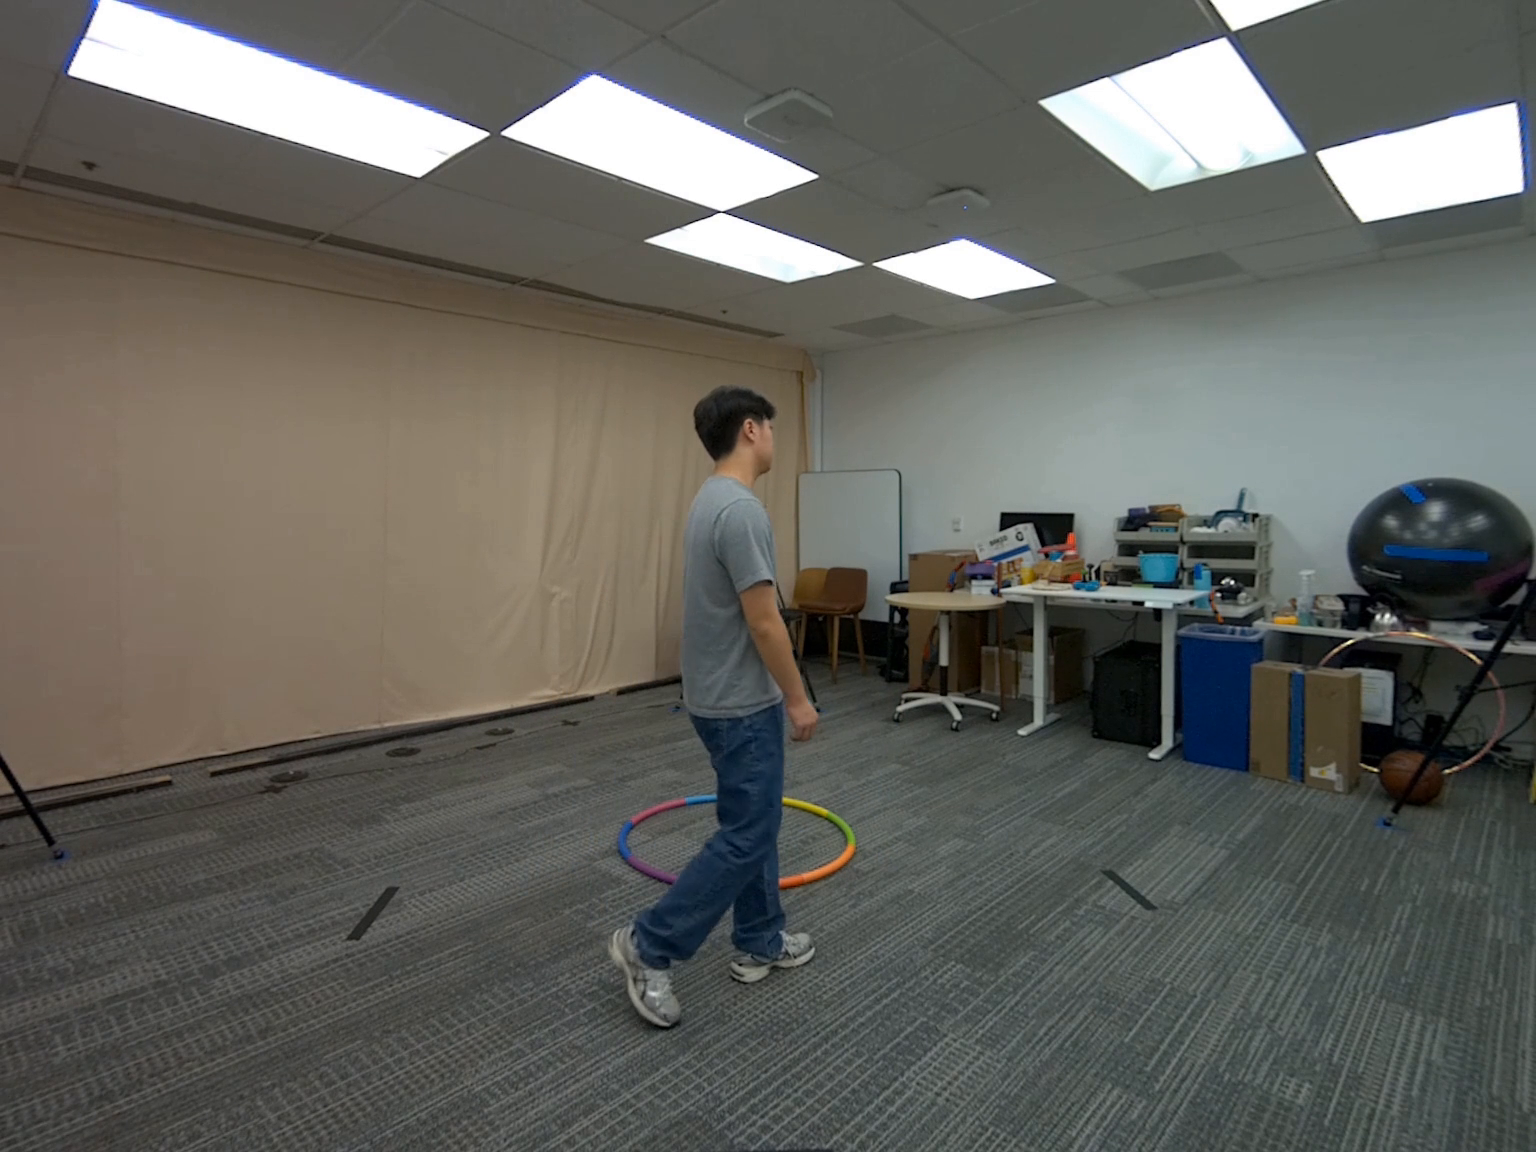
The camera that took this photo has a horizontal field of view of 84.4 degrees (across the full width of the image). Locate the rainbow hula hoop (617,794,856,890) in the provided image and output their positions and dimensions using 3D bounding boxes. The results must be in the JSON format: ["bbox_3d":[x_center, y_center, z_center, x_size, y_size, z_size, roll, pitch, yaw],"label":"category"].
[{"bbox_3d":[-0.132,1.067,3.507,0.978,0.035,0.982,-1,5,-2],"label":"rainbow hula hoop"}]
